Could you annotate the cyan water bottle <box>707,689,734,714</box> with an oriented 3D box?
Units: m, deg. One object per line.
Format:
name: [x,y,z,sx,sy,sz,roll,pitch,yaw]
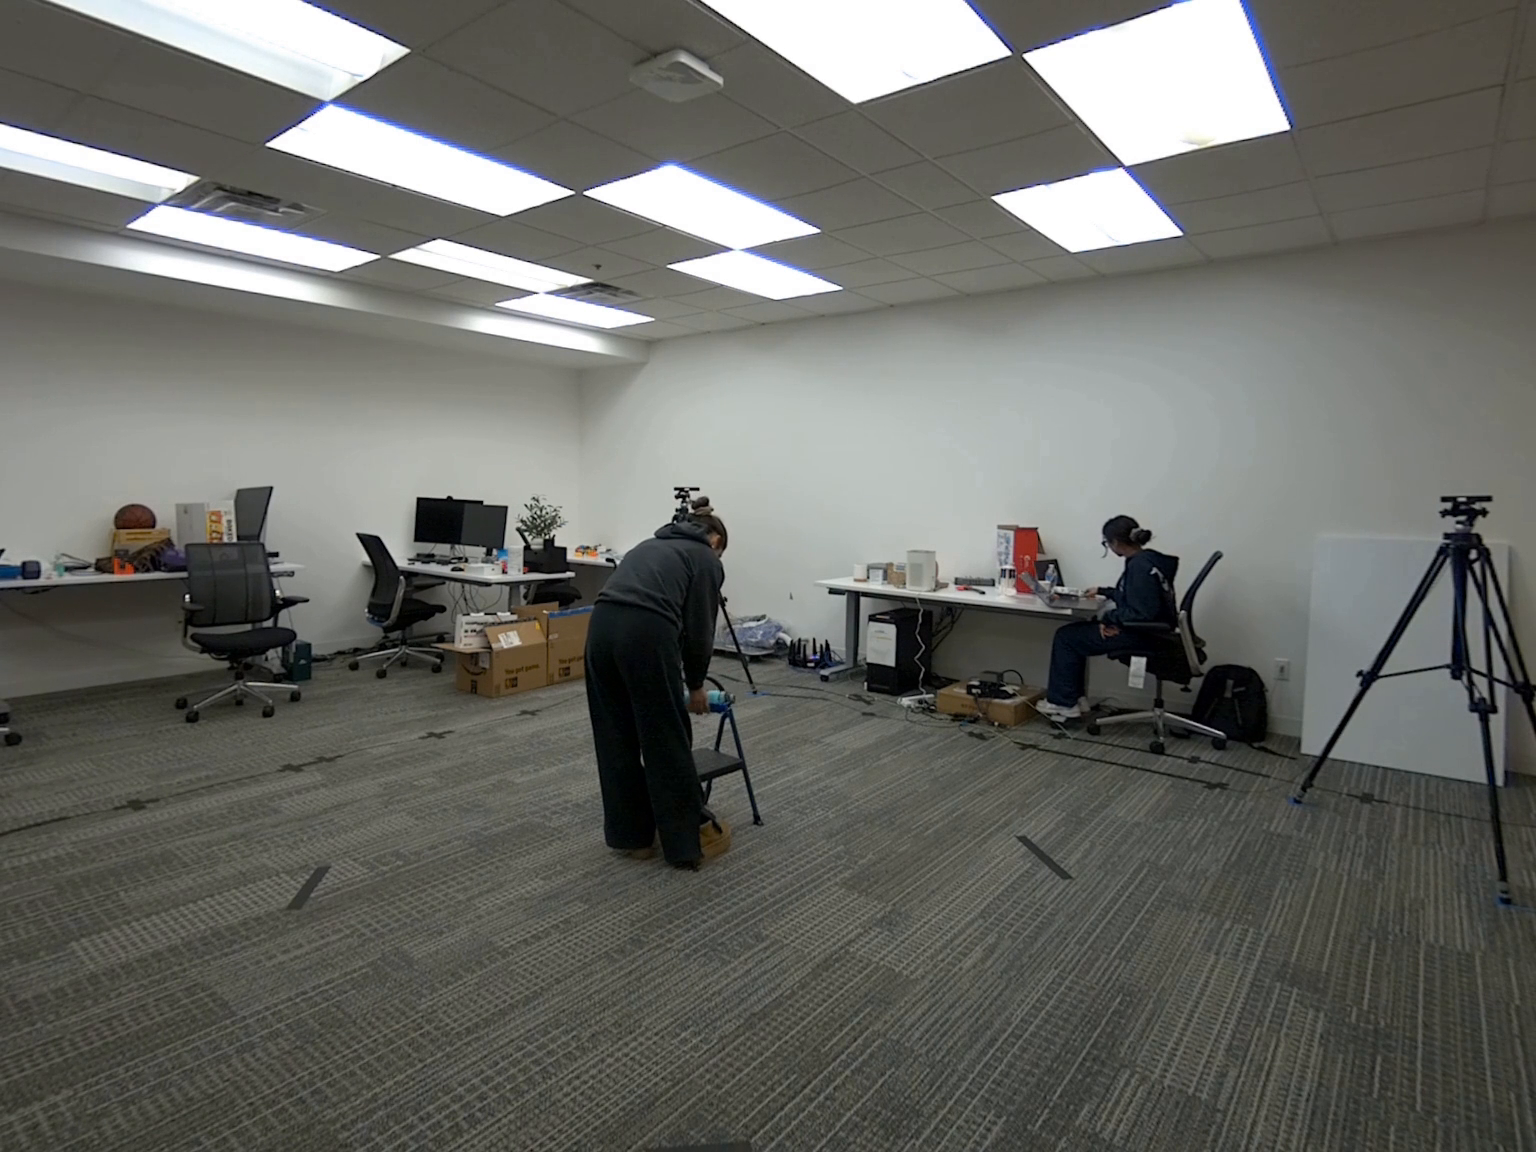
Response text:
cyan water bottle: [-0.267,0.506,3.451,0.287,0.092,0.091,-4,3,14]
